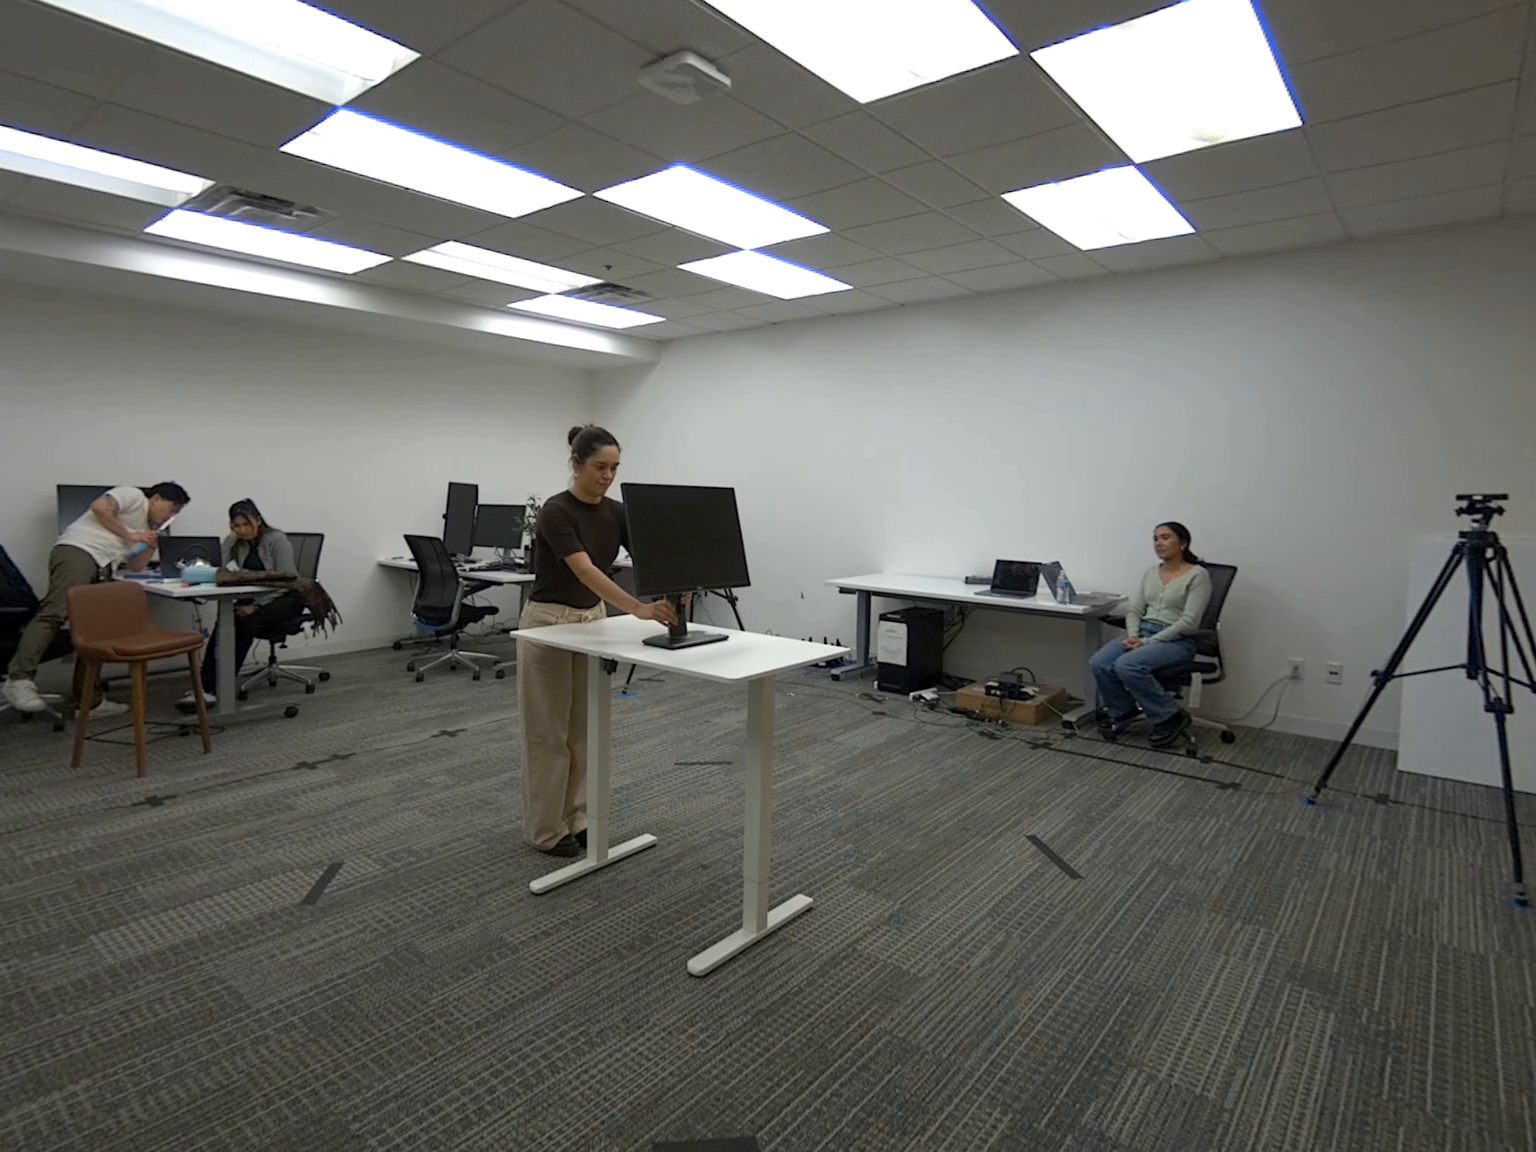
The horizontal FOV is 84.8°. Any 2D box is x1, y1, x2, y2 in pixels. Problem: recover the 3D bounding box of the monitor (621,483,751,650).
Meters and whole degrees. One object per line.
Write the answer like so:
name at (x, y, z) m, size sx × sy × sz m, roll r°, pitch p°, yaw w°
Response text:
monitor at (-0.284, -0.042, 2.790) m, size 0.180 × 0.514 × 0.514 m, roll 7°, pitch 6°, yaw 37°
